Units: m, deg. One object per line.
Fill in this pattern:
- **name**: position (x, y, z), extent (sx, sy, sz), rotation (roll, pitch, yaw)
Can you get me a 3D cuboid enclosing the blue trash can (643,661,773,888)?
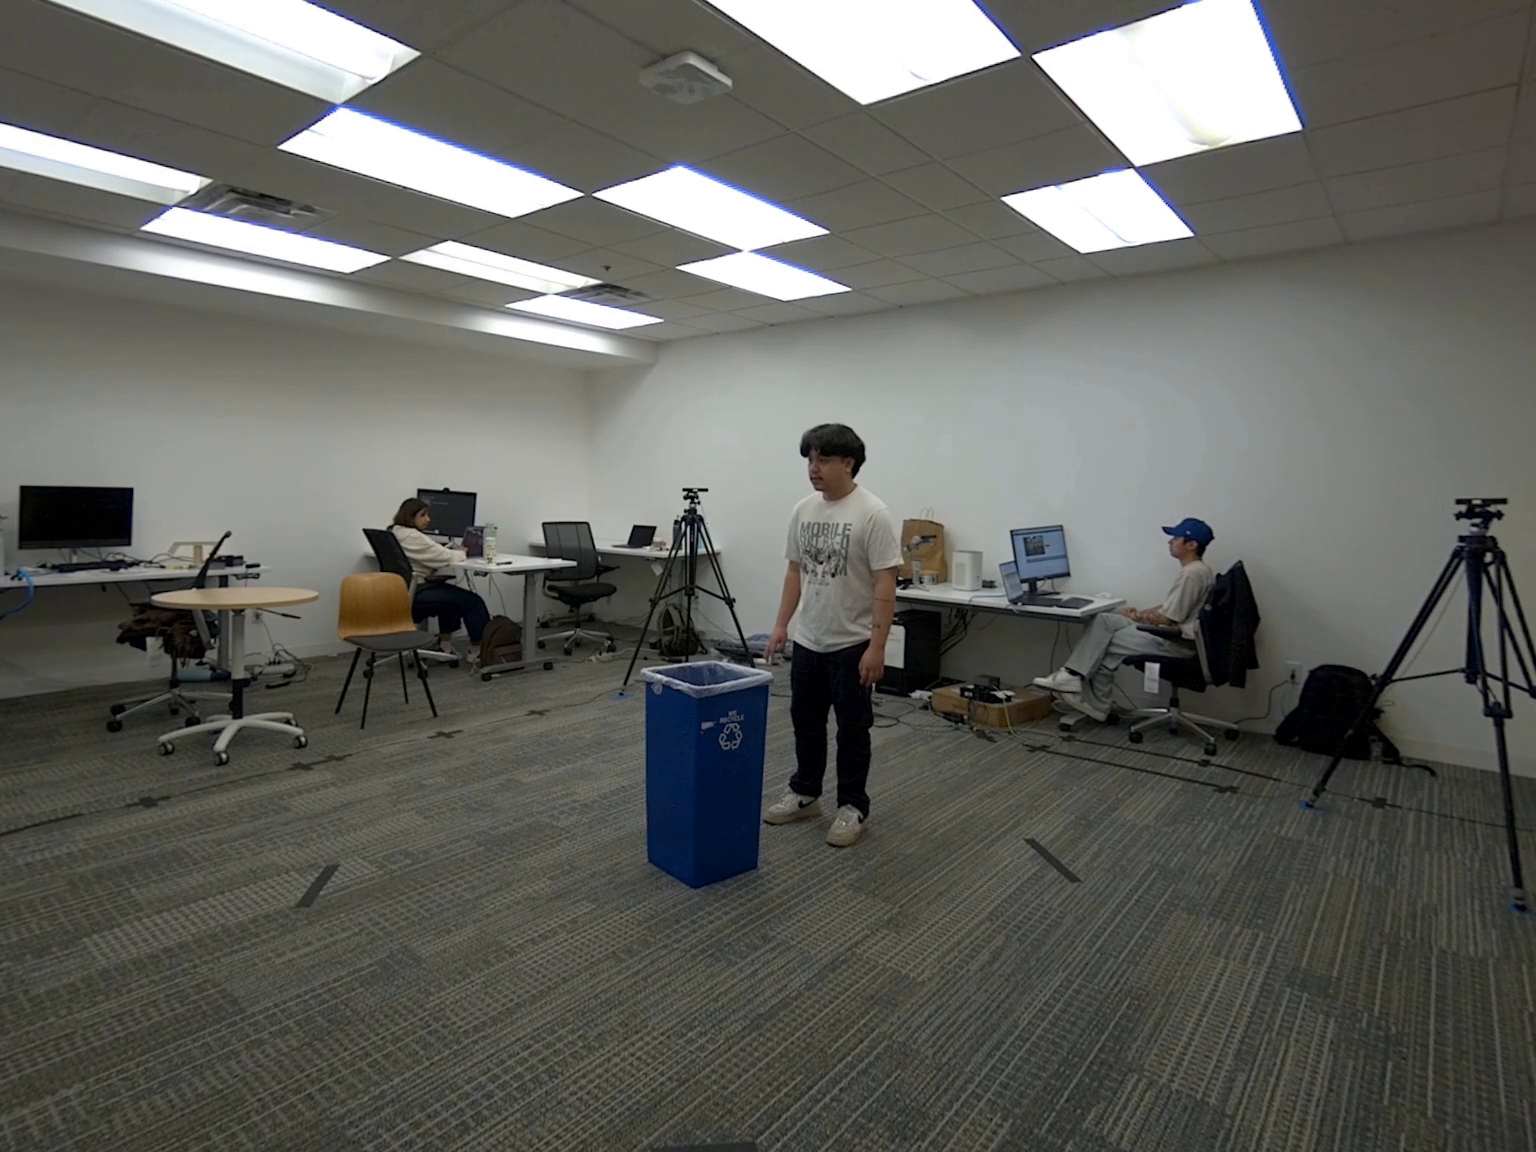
- **blue trash can**: position (-0.241, 0.707, 3.144), extent (0.363, 0.711, 0.391), rotation (-2, 4, -41)
